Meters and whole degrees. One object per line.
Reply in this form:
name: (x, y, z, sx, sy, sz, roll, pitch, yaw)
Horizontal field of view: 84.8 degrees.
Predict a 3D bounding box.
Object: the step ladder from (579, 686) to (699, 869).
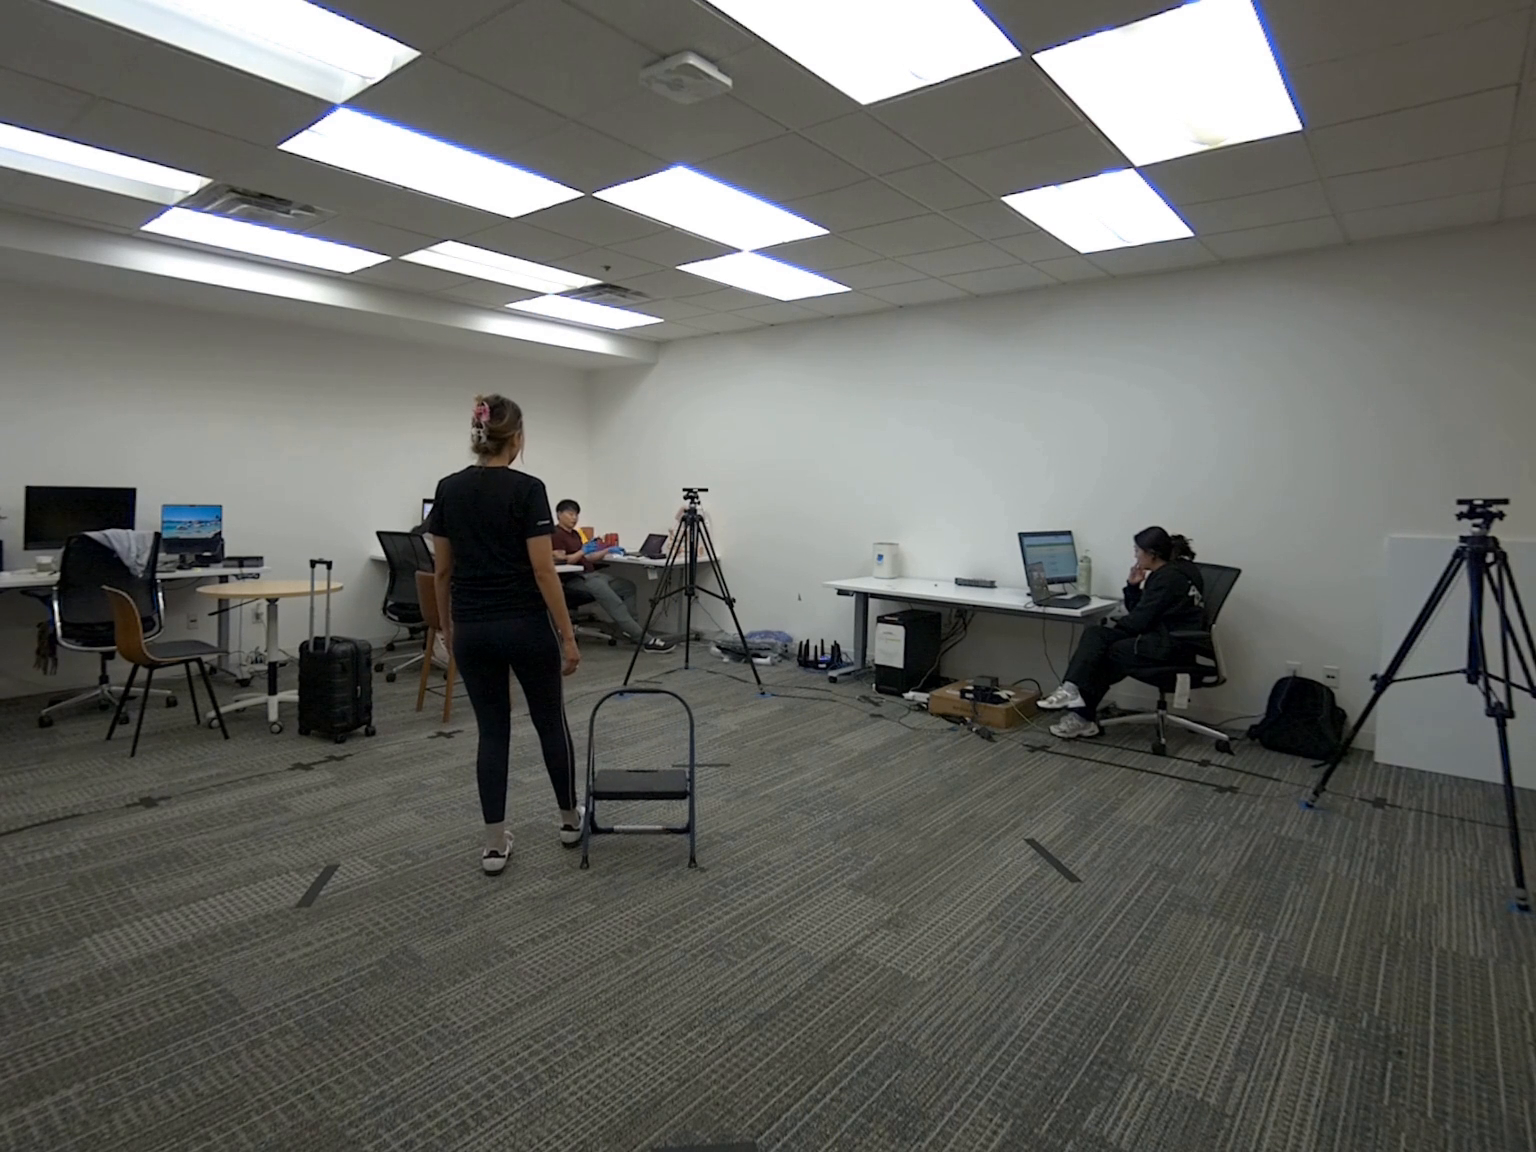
step ladder: (-0.492, 0.755, 3.264, 0.428, 0.604, 0.352, 0, 4, -5)
